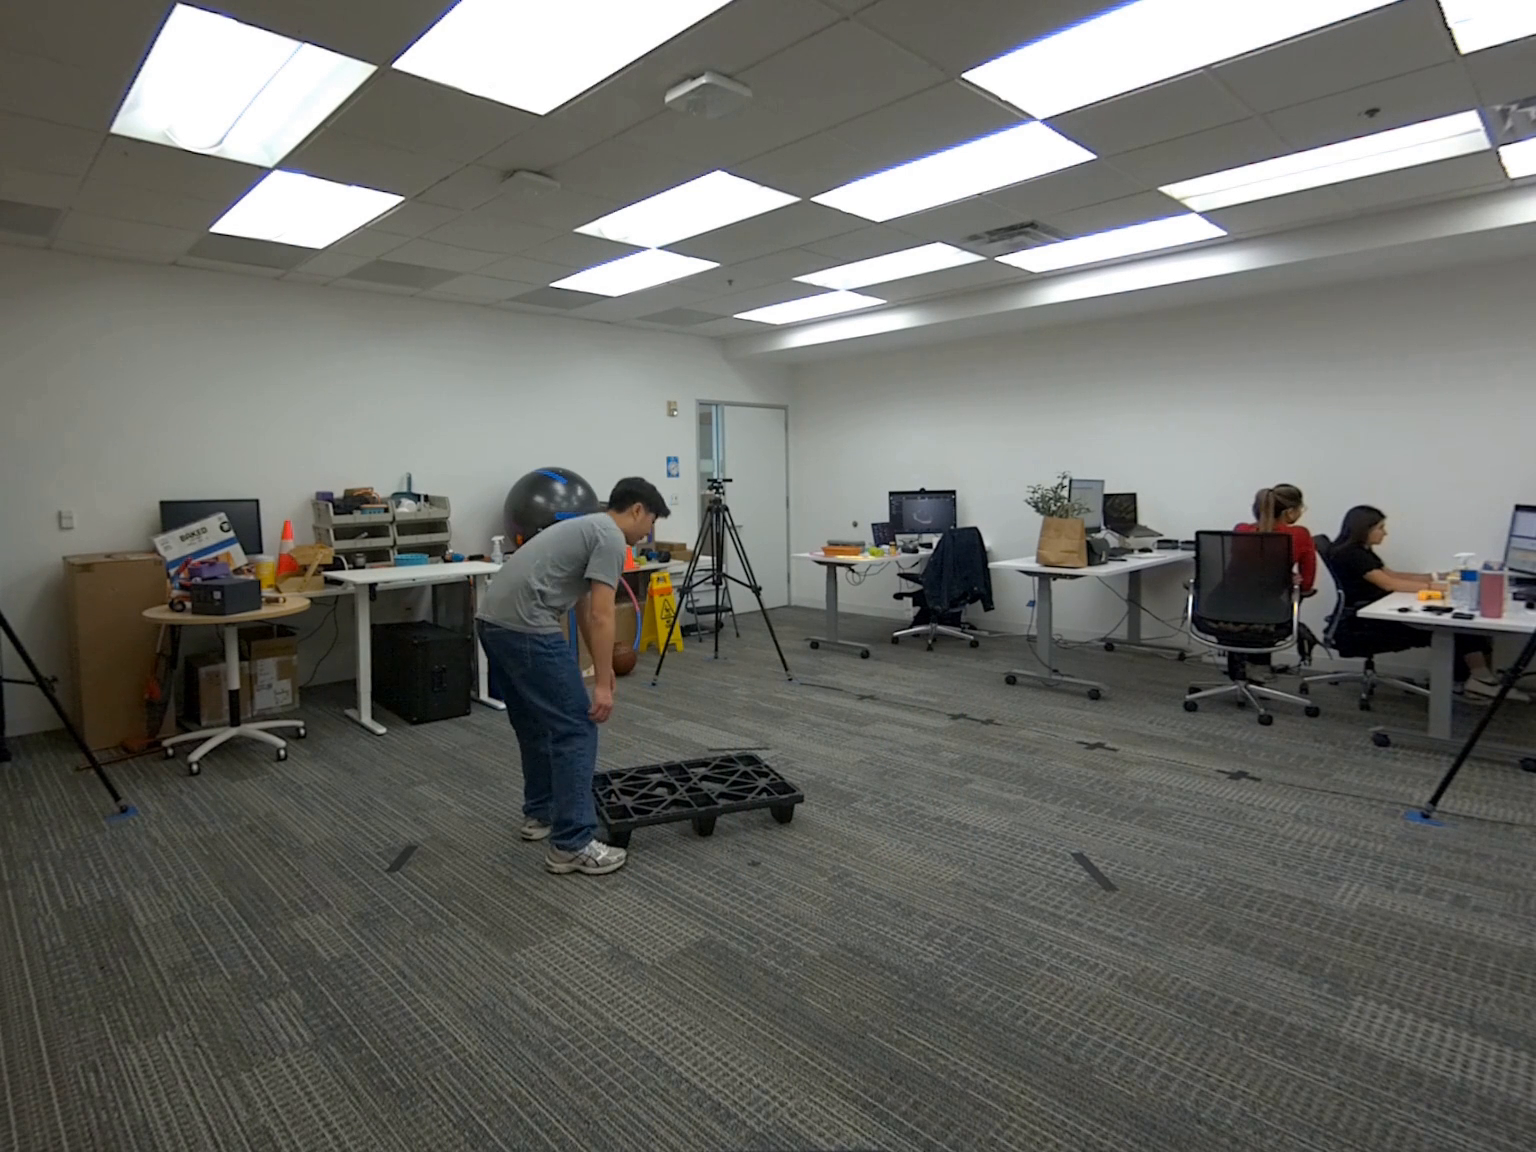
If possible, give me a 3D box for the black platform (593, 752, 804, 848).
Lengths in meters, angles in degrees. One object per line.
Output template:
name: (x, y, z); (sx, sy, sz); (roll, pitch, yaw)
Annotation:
black platform: (-0.321, 0.933, 3.567); (0.792, 0.142, 0.618); (-4, 7, -20)
